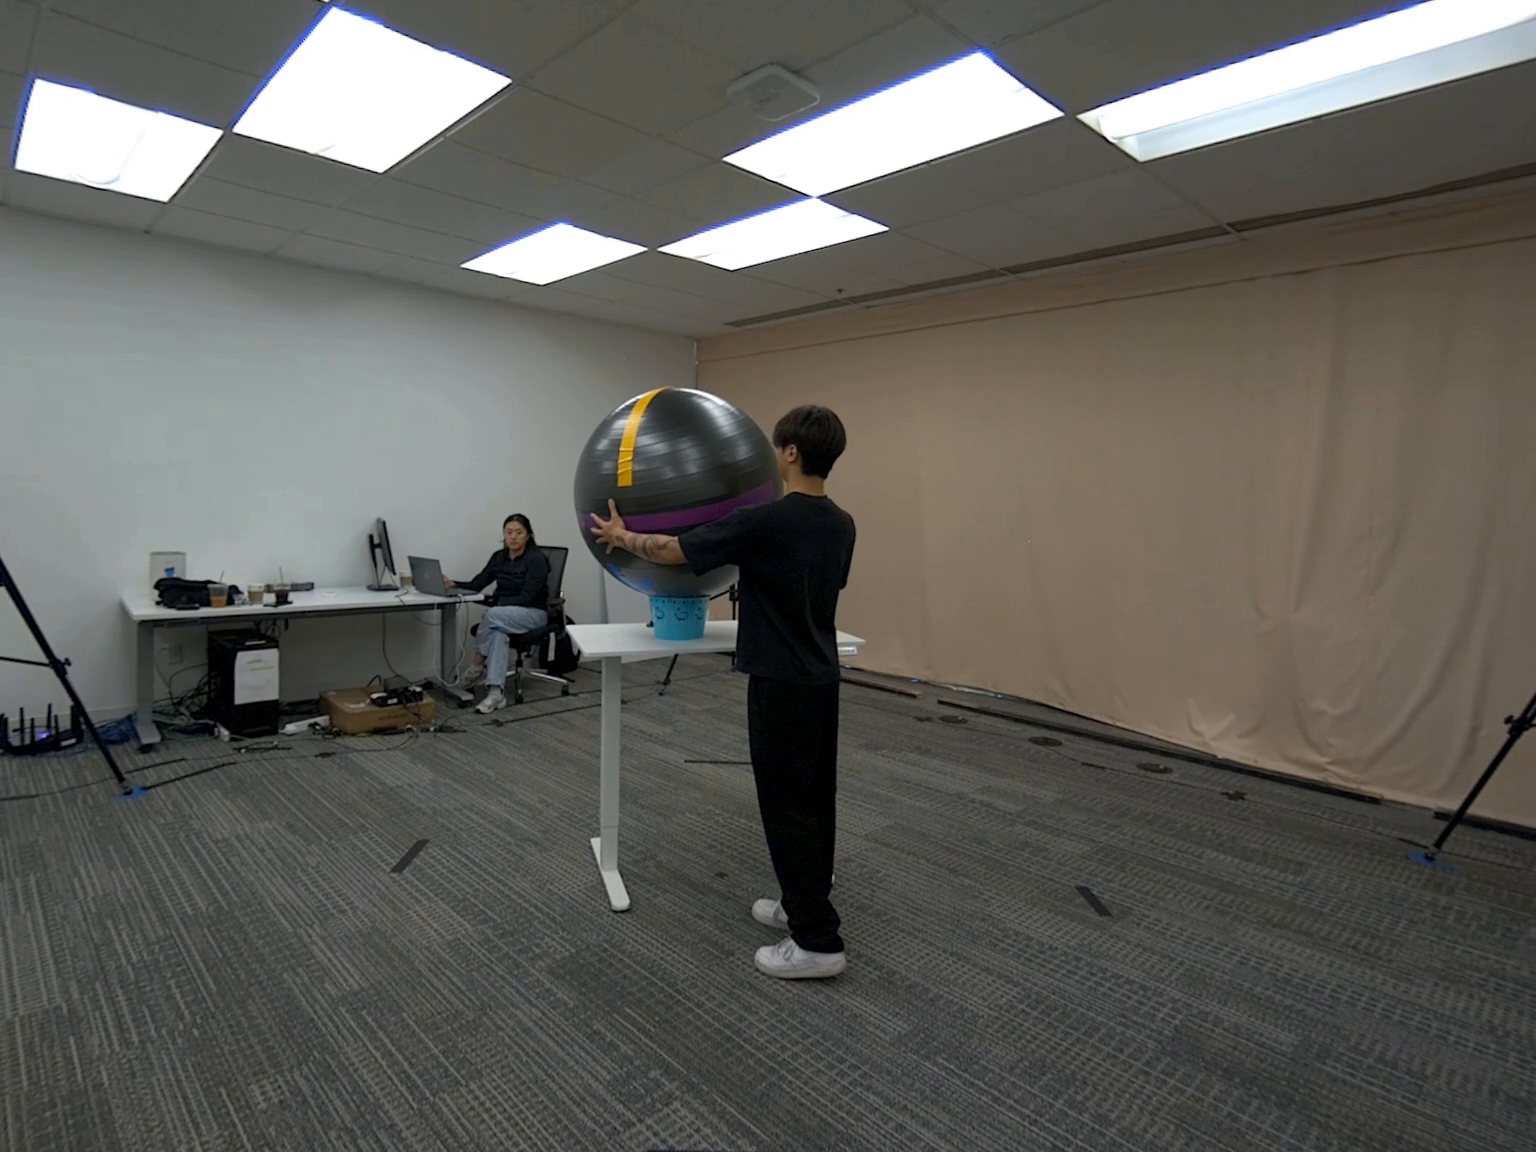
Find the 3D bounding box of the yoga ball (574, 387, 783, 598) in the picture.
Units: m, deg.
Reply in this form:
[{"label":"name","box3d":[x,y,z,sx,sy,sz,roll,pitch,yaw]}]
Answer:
[{"label":"yoga ball","box3d":[-0.323,-0.294,3.053,0.757,0.756,0.761,1,4,-1]}]
